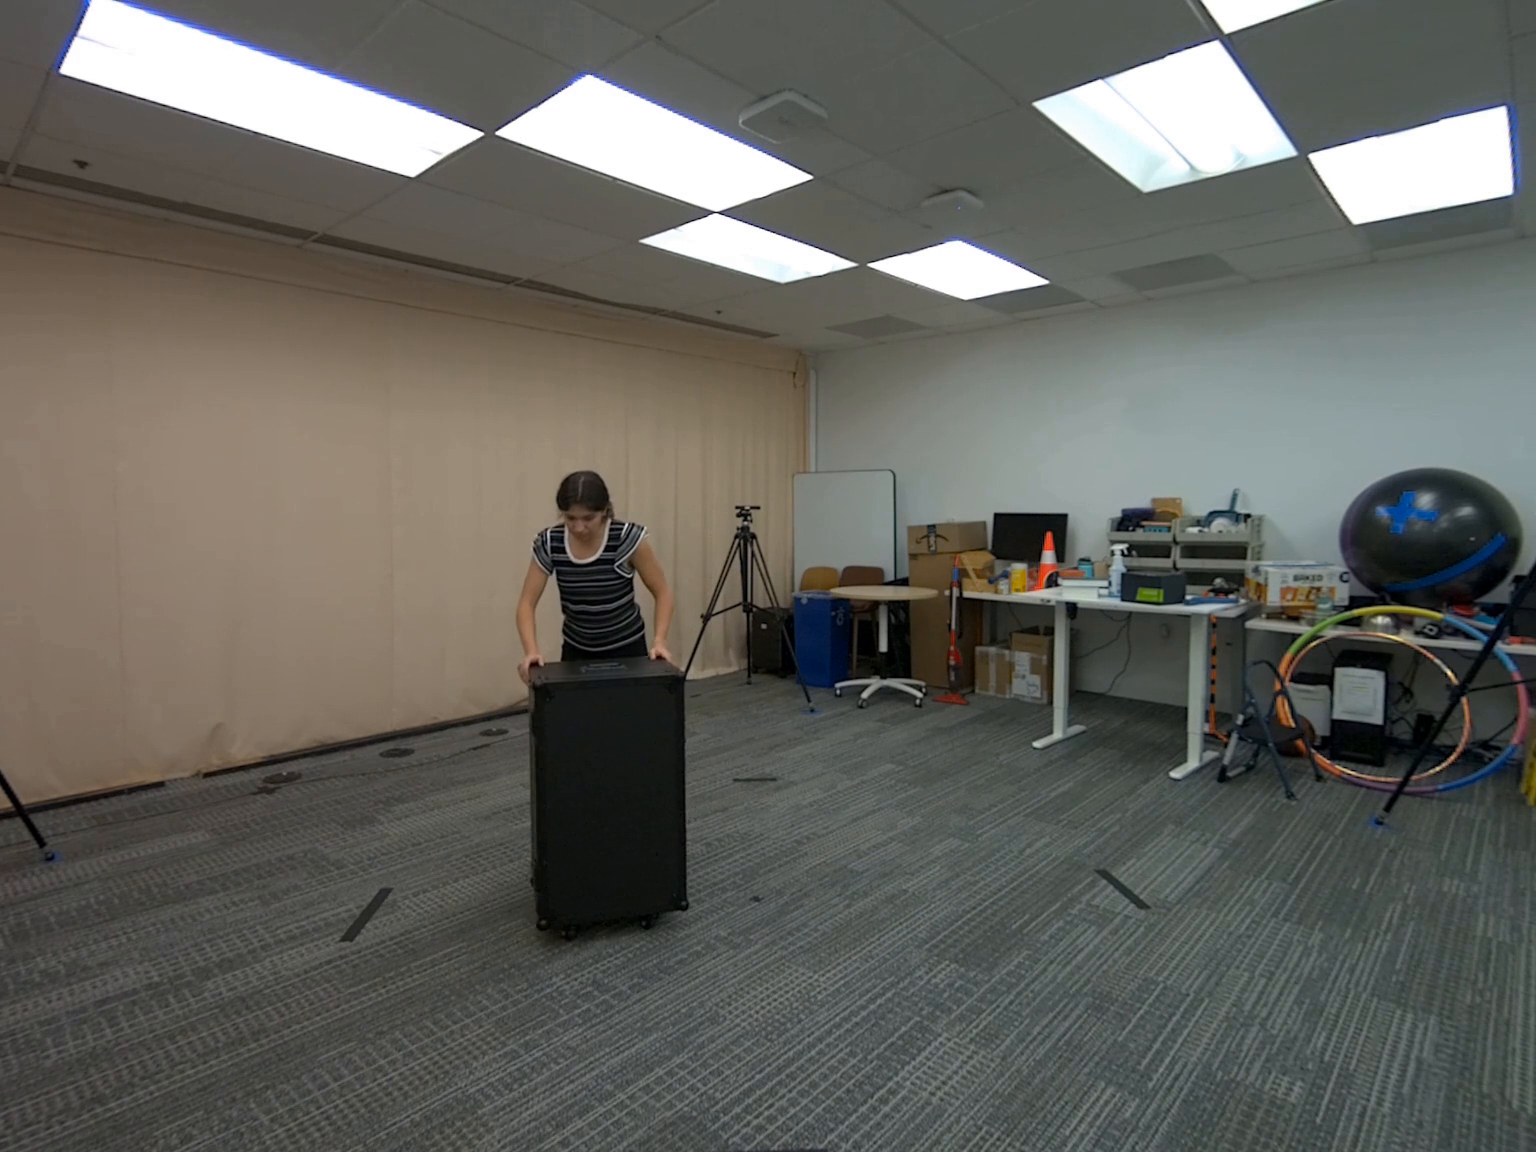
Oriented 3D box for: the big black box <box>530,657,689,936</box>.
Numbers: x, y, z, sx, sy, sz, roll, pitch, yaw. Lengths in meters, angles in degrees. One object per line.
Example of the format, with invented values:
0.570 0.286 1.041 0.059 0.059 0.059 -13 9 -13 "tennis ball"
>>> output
-0.553 0.733 2.855 0.512 0.860 0.404 -2 3 -17 "big black box"
